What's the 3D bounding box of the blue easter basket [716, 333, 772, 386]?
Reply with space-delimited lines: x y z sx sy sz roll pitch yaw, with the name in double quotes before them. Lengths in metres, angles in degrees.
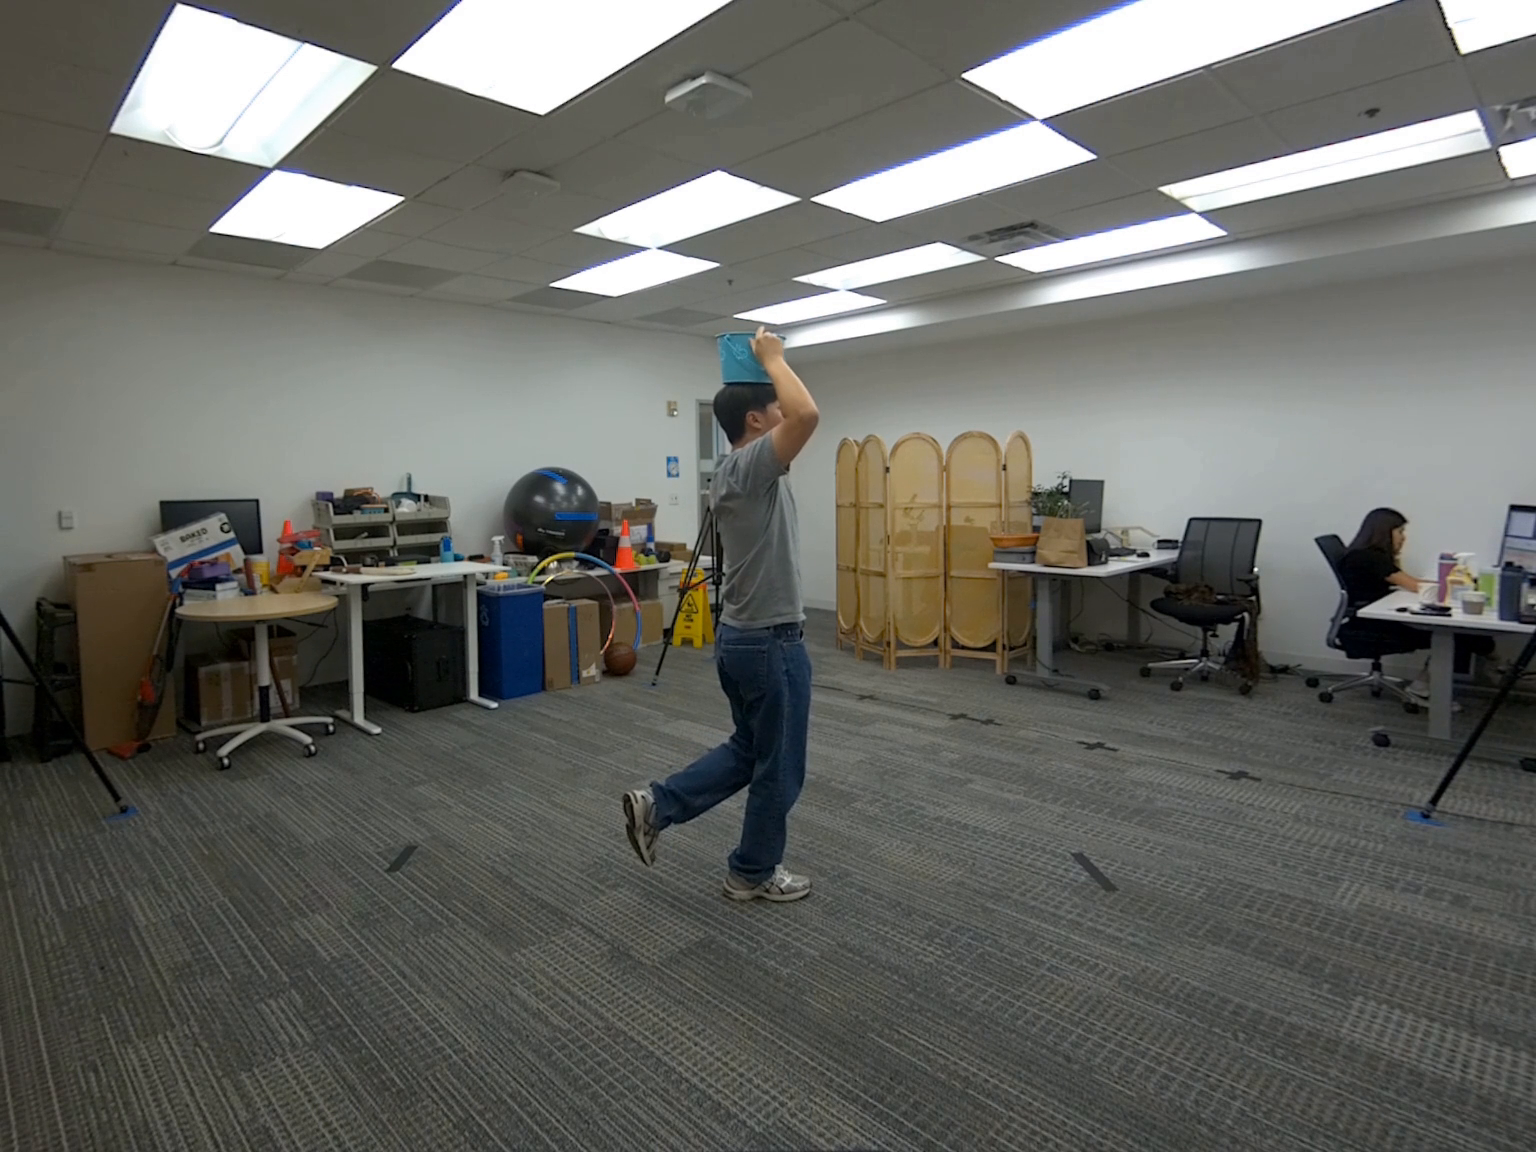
"blue easter basket" -0.057 -0.702 2.800 0.243 0.155 0.245 -1 7 -2
